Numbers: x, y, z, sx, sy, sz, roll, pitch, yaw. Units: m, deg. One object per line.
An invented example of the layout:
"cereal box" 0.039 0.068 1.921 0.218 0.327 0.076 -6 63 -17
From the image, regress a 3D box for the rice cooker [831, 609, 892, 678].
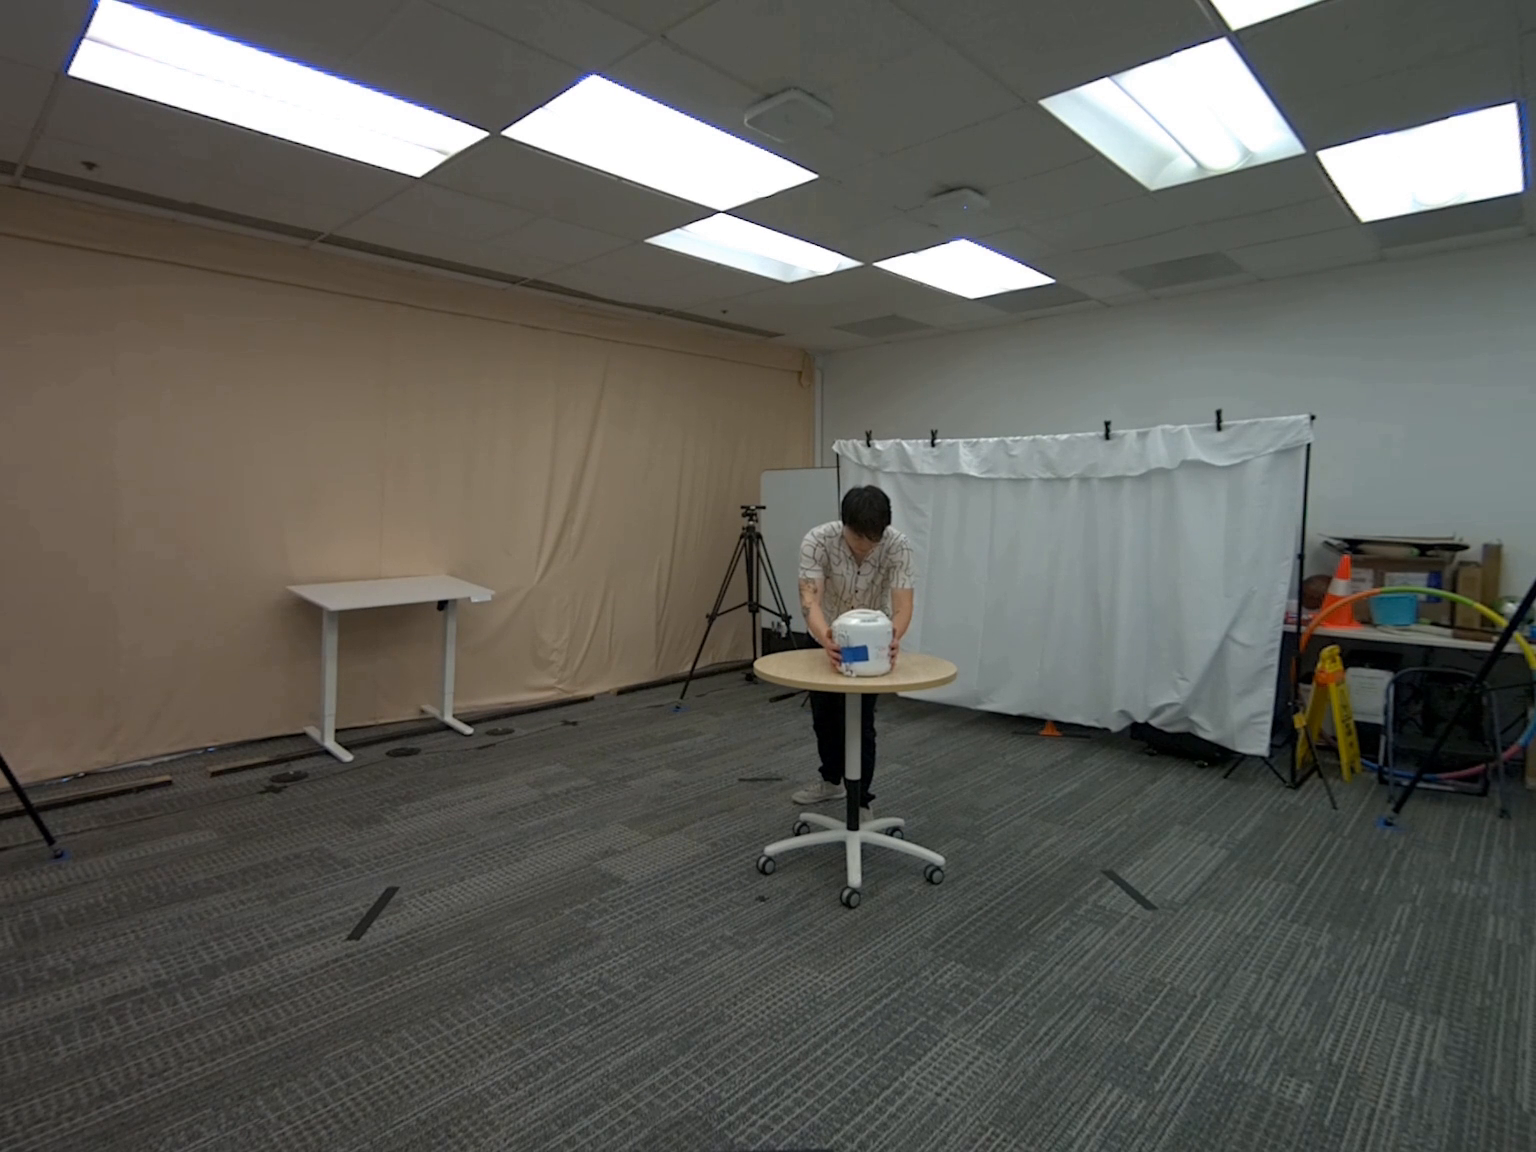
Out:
"rice cooker" 0.348 0.235 3.065 0.219 0.232 0.219 1 5 -5
